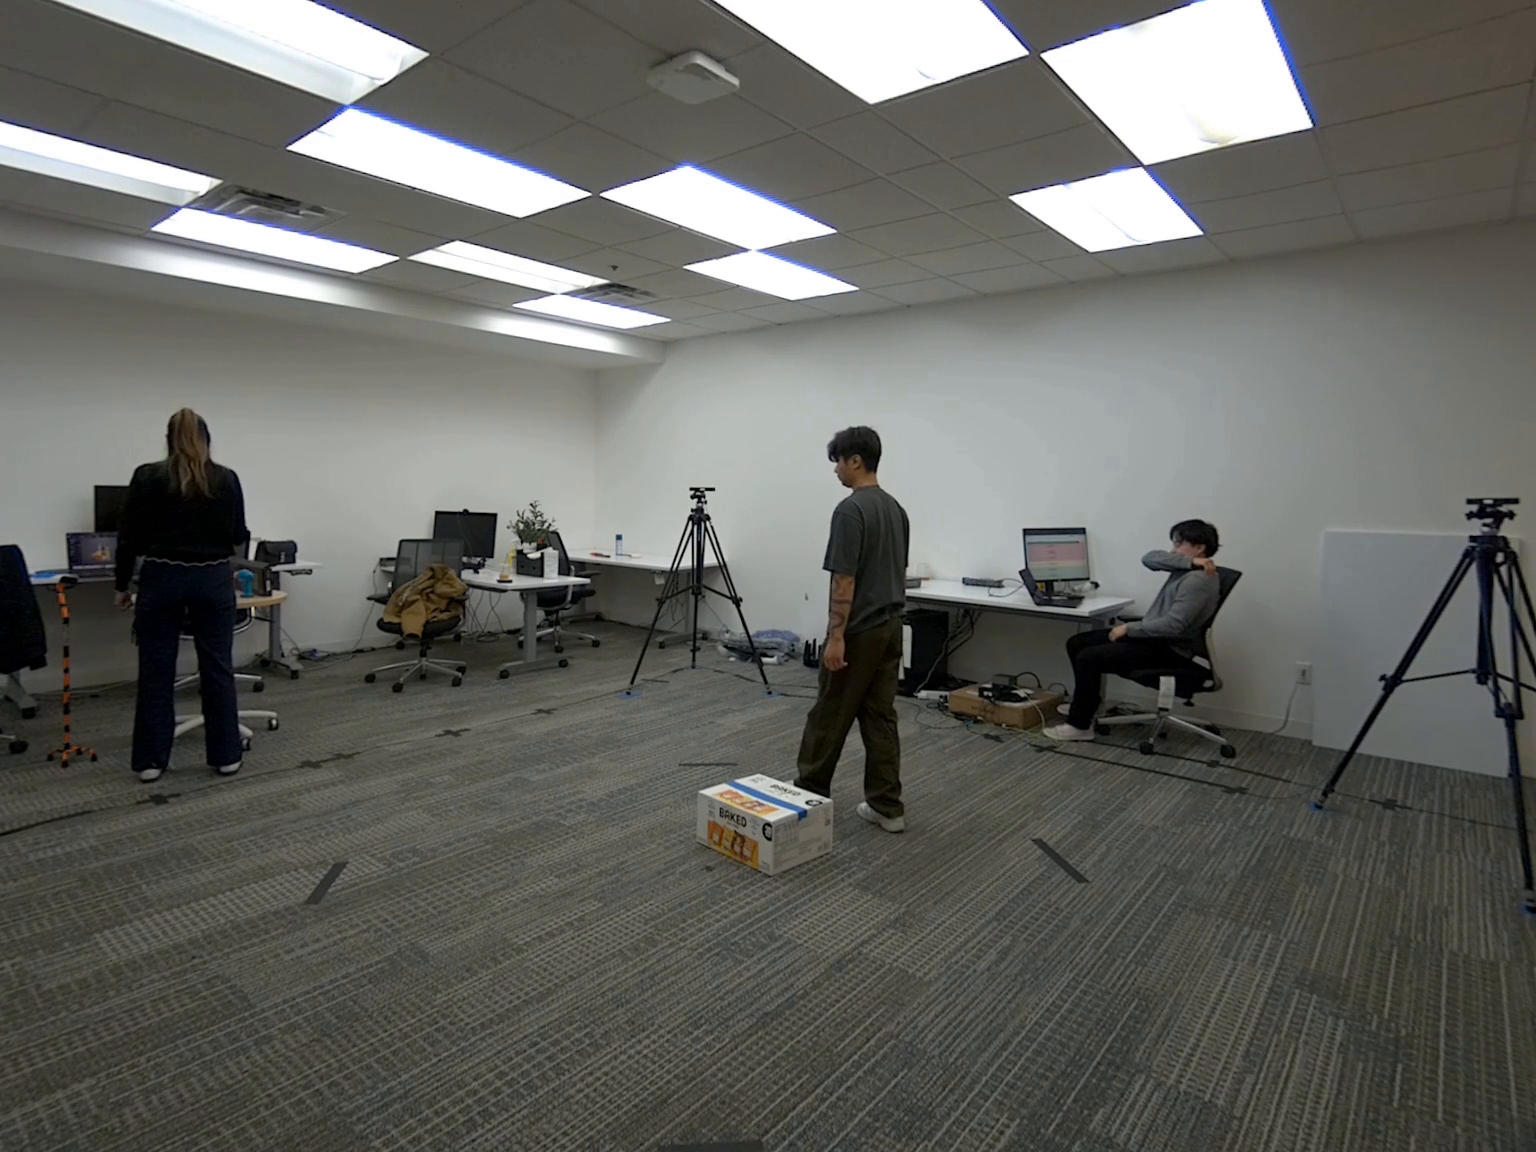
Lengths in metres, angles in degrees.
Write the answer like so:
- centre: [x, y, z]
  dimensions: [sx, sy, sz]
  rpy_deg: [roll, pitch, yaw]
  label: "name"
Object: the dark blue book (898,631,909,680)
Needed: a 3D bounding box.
- centre: [0.503, 0.383, 3.868]
  dimensions: [0.044, 0.165, 0.250]
  rpy_deg: [5, -11, -34]
  label: "dark blue book"
